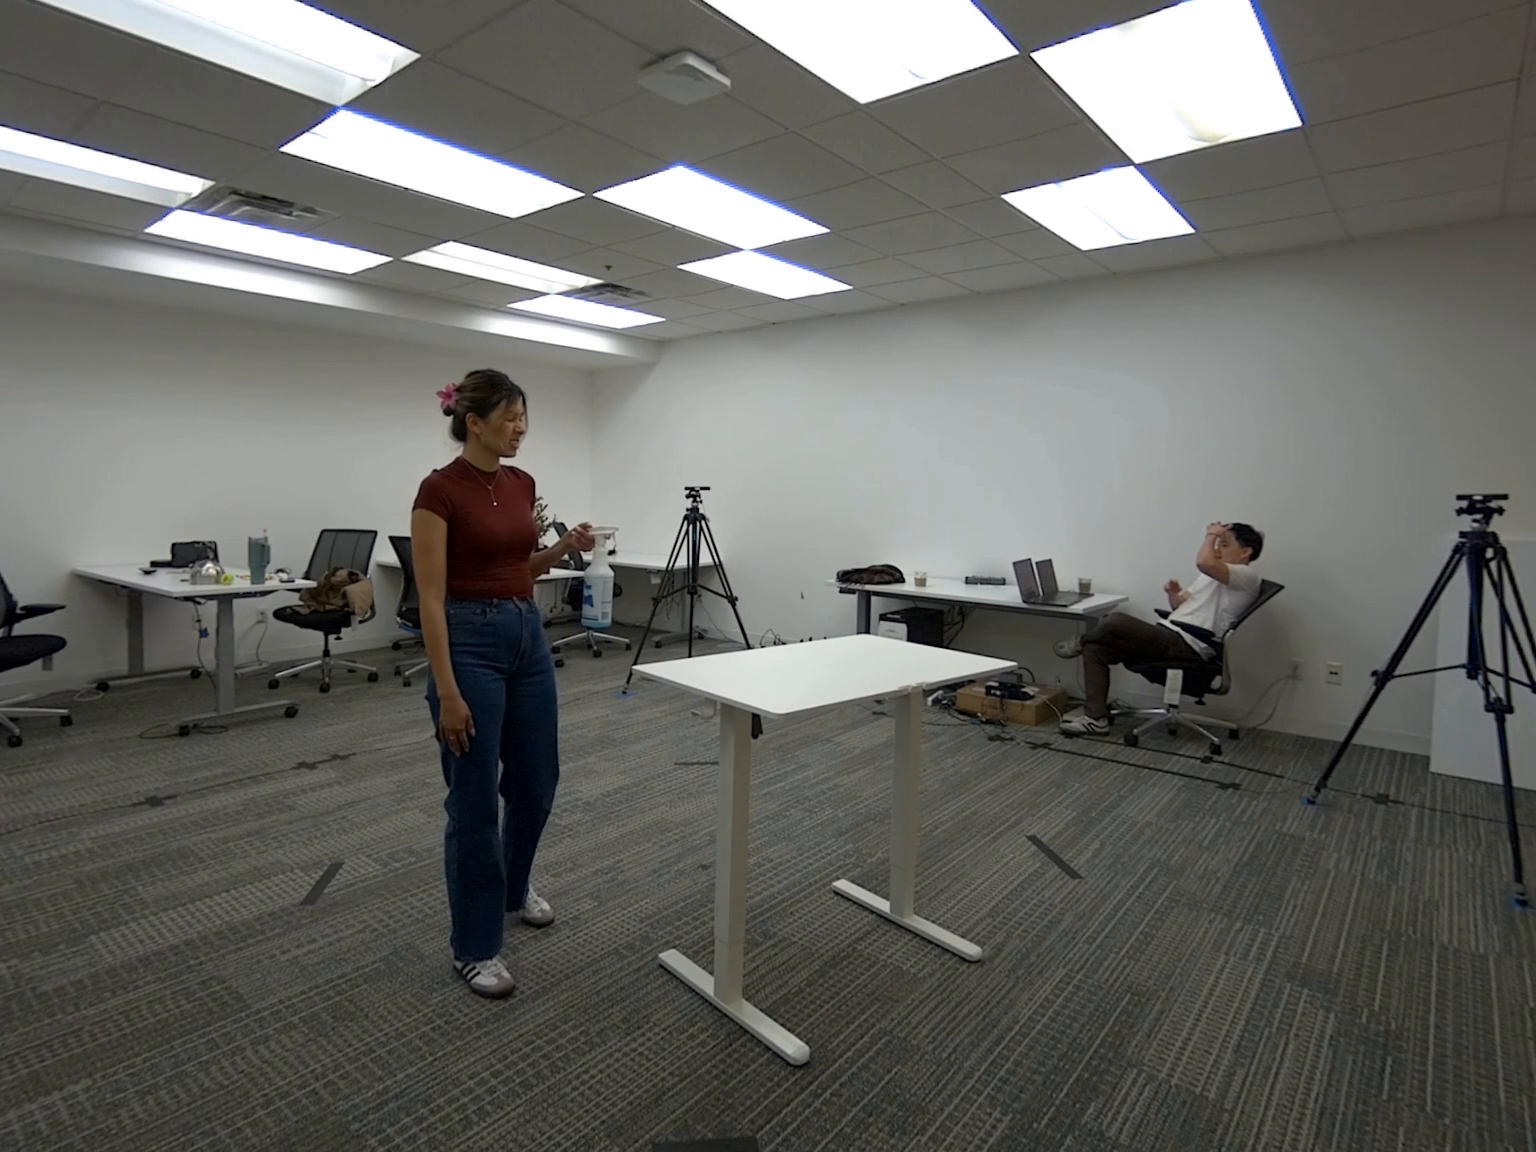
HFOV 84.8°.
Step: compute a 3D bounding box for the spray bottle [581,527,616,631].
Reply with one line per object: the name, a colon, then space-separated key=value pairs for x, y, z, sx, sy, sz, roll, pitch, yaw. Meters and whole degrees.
spray bottle: x=-0.512 y=0.002 z=2.490 sx=0.092 sy=0.297 sz=0.085 roll=5 pitch=1 yaw=18
